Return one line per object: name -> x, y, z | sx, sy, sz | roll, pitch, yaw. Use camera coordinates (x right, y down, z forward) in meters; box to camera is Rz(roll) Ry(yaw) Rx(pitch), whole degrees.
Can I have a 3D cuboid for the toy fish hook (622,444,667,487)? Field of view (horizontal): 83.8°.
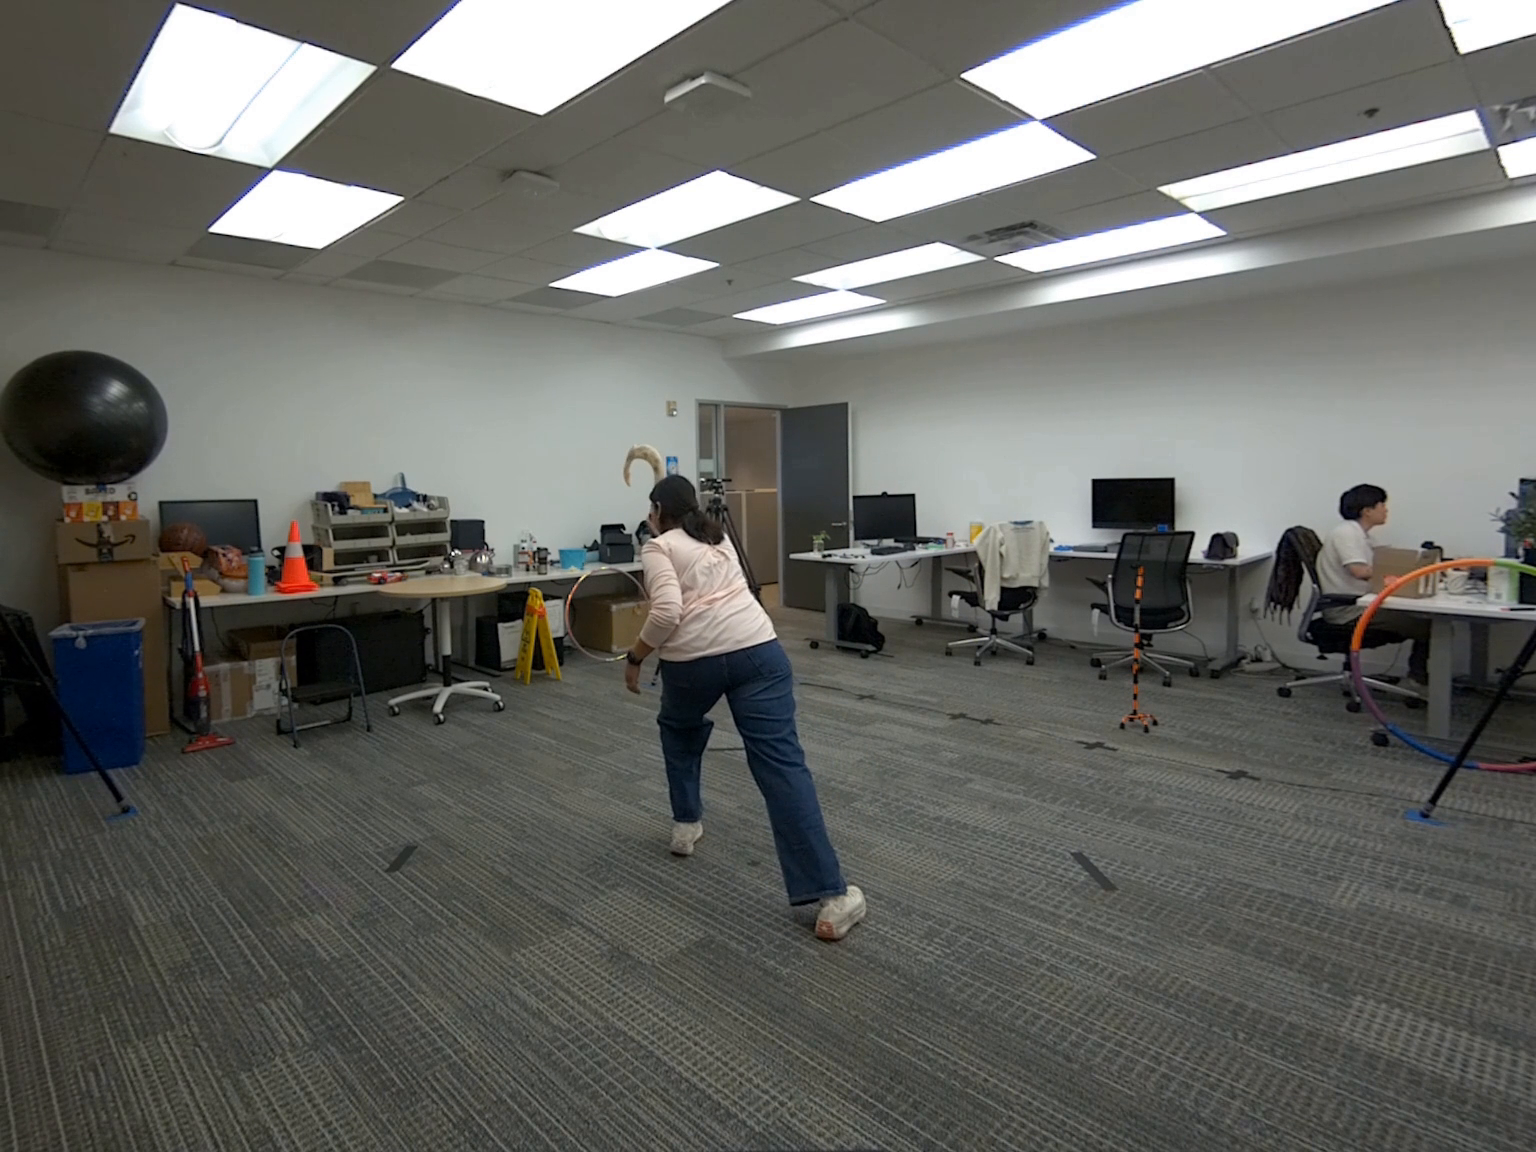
toy fish hook -> -0.562, -0.341, 3.905 | 0.231, 0.501, 0.047 | 7, 15, 35
